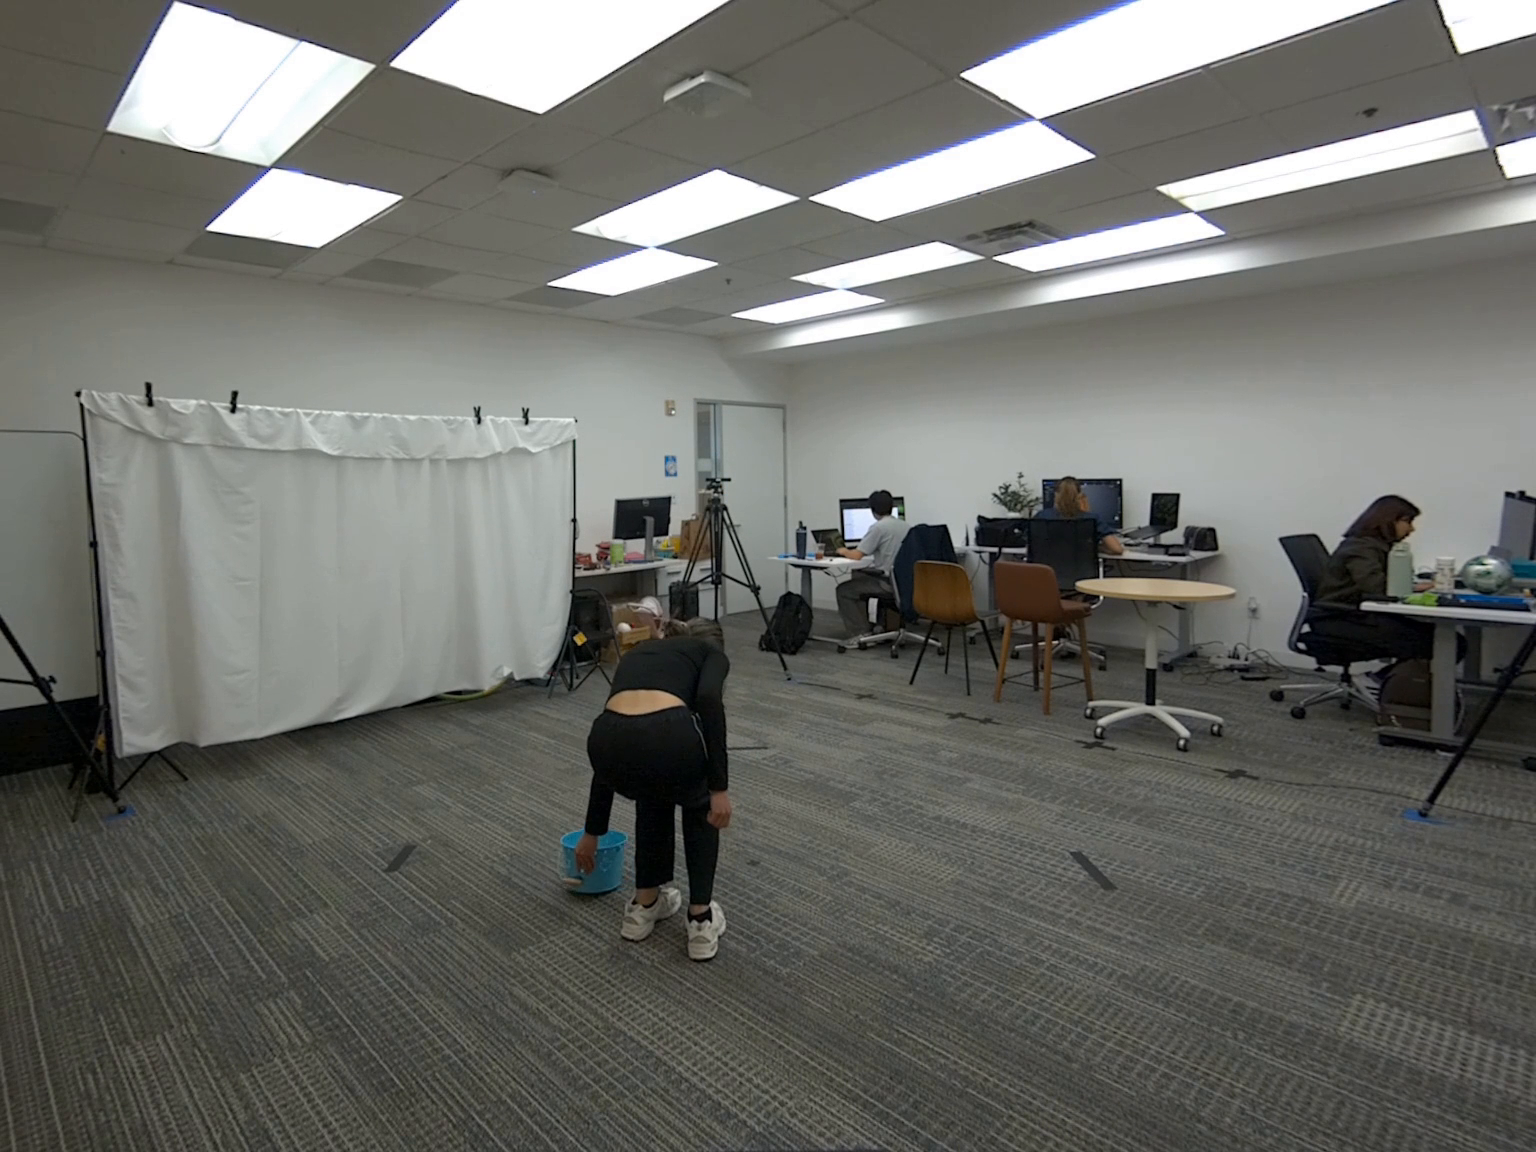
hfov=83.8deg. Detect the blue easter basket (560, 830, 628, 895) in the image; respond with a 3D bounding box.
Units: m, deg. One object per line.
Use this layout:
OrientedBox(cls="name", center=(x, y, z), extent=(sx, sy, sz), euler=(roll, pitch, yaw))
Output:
OrientedBox(cls="blue easter basket", center=(-0.607, 0.983, 2.948), extent=(0.243, 0.156, 0.243), euler=(1, -1, -2))
